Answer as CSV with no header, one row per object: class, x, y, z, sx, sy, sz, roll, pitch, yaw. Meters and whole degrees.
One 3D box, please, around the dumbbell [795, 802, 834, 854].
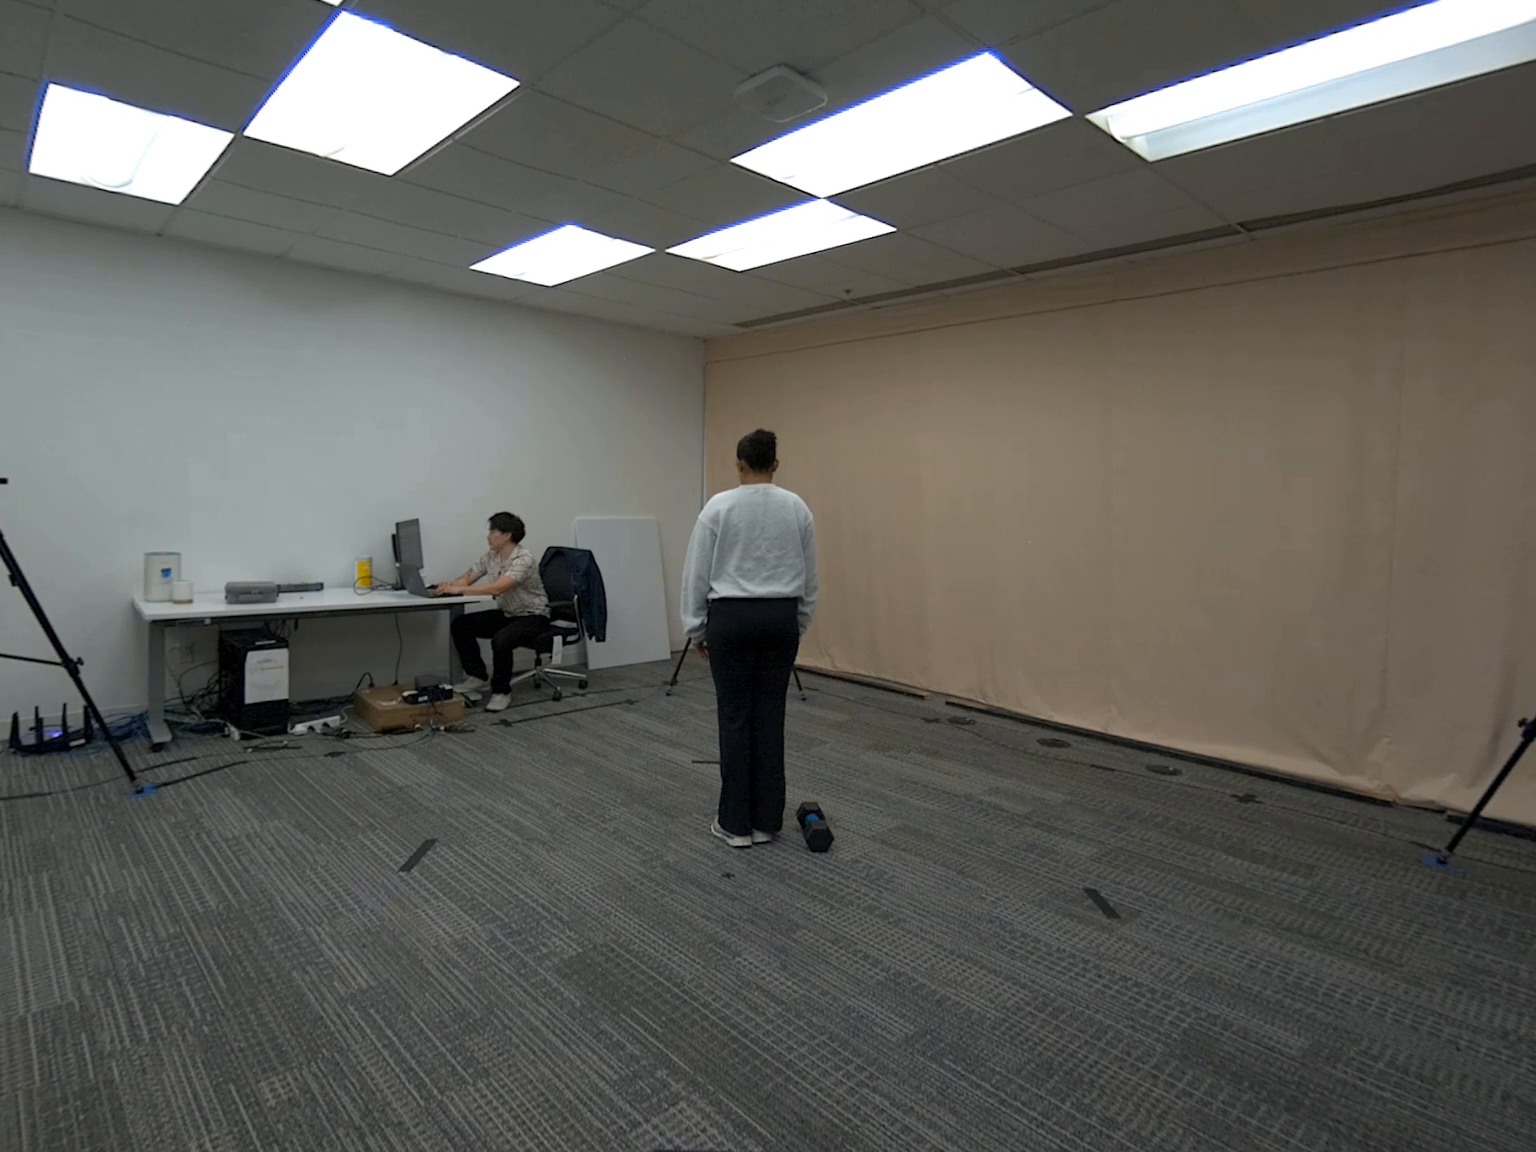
dumbbell,0.178,1.027,3.465,0.108,0.122,0.295,-30,7,-3
